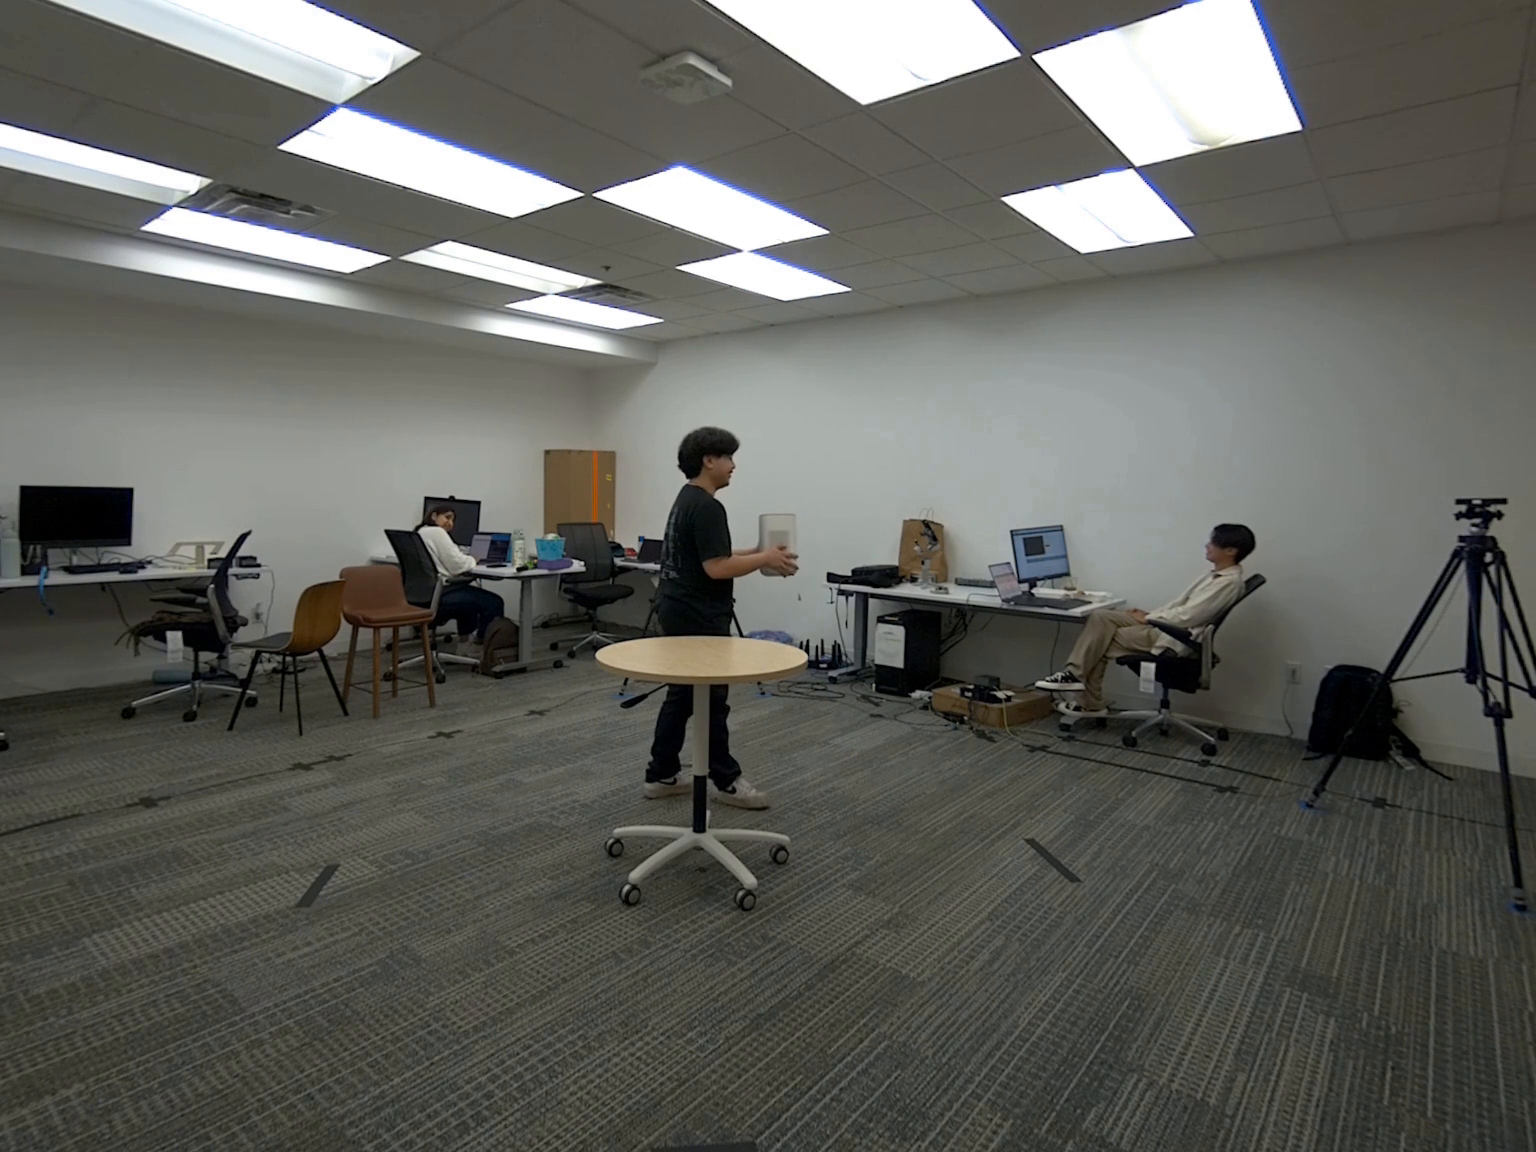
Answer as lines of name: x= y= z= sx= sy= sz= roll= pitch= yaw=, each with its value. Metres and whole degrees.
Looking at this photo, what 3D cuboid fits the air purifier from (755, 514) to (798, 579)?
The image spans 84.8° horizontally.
air purifier: x=0.035 y=-0.136 z=3.852 sx=0.172 sy=0.268 sz=0.169 roll=-3 pitch=-9 yaw=2
